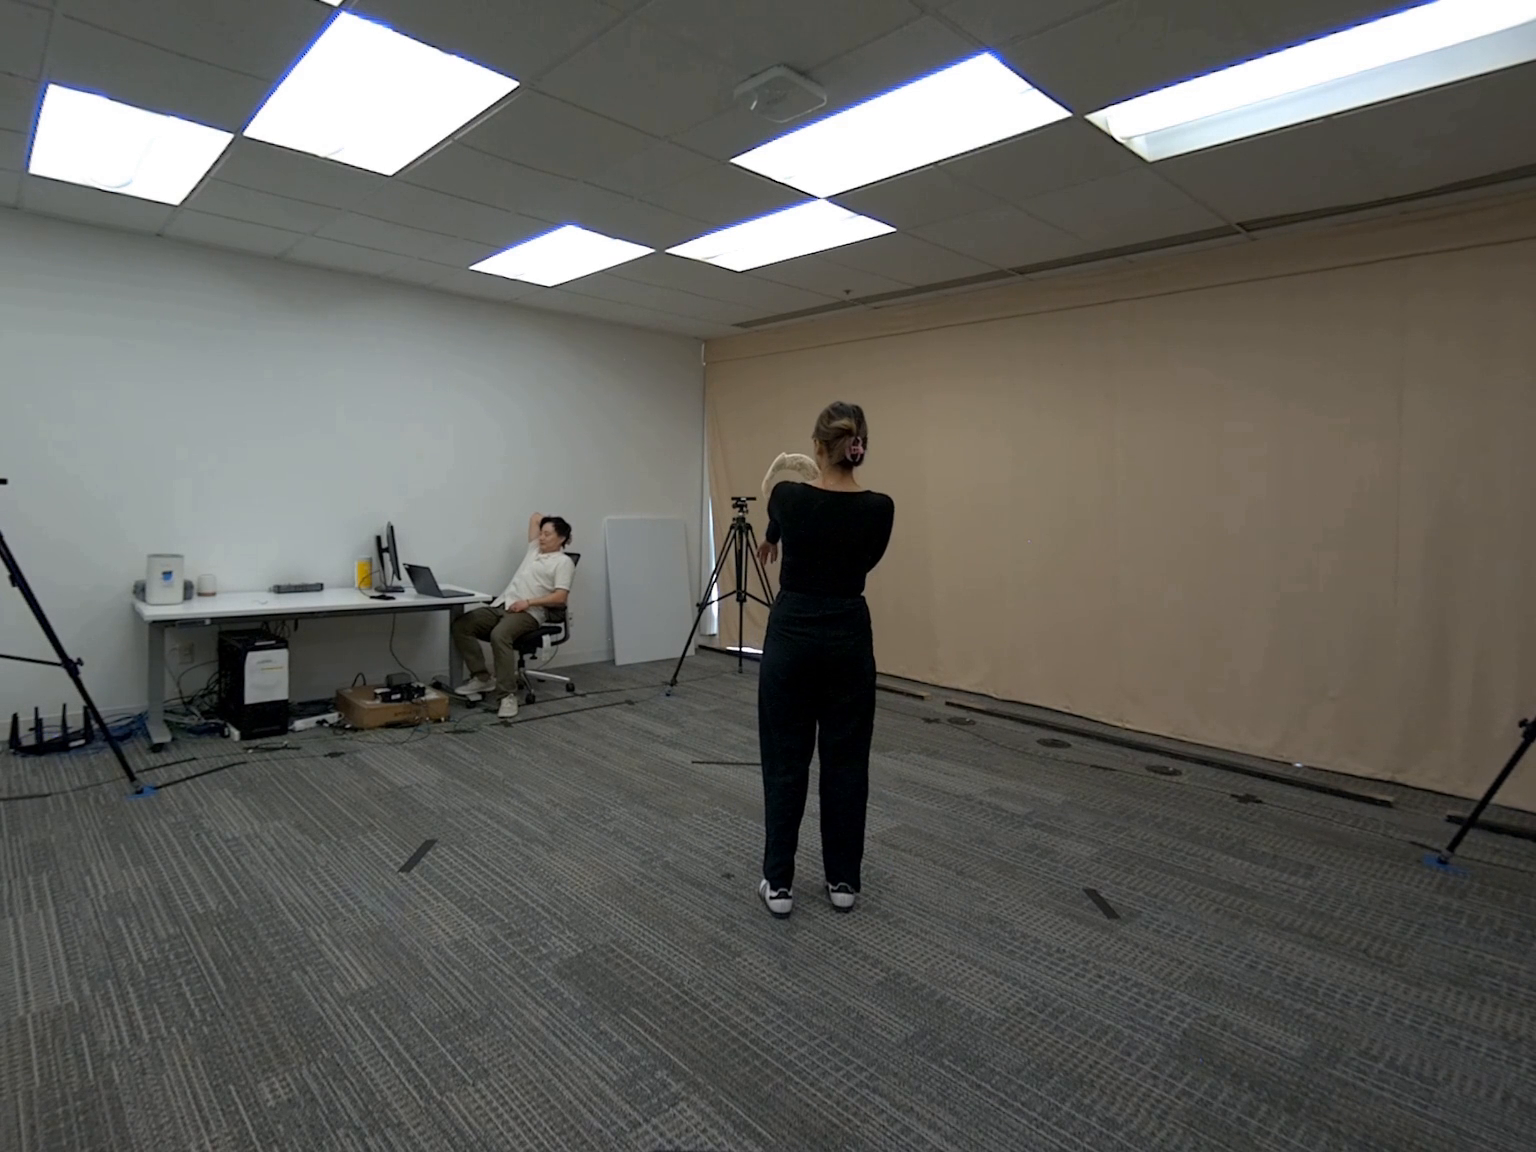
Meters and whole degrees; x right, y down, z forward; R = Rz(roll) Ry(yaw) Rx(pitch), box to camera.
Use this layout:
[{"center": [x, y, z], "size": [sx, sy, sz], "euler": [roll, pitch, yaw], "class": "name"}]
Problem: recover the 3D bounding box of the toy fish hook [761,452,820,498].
[{"center": [0.078, -0.210, 3.274], "size": [0.224, 0.506, 0.048], "euler": [6, 2, 0], "class": "toy fish hook"}]
